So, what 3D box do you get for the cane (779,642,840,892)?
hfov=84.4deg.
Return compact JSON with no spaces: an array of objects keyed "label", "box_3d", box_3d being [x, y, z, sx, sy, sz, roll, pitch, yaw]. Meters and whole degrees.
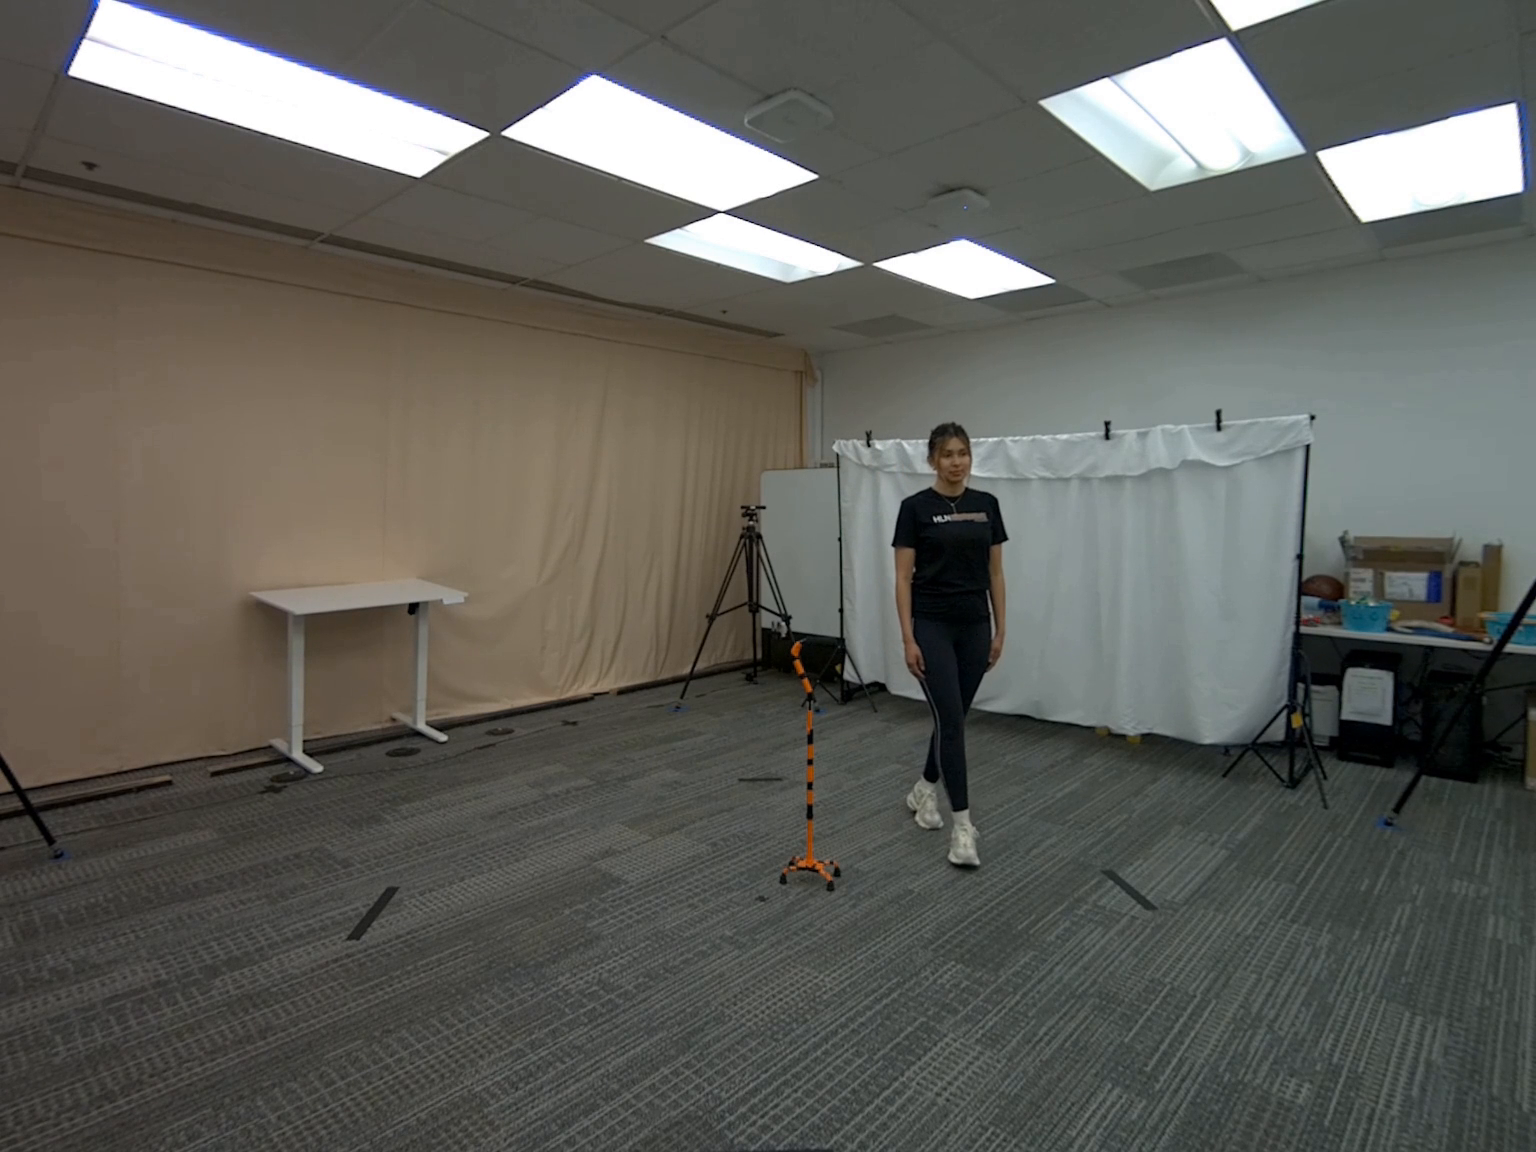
[{"label":"cane","box_3d":[0.157,0.679,3.110,0.210,0.906,0.149,0,3,14]}]
